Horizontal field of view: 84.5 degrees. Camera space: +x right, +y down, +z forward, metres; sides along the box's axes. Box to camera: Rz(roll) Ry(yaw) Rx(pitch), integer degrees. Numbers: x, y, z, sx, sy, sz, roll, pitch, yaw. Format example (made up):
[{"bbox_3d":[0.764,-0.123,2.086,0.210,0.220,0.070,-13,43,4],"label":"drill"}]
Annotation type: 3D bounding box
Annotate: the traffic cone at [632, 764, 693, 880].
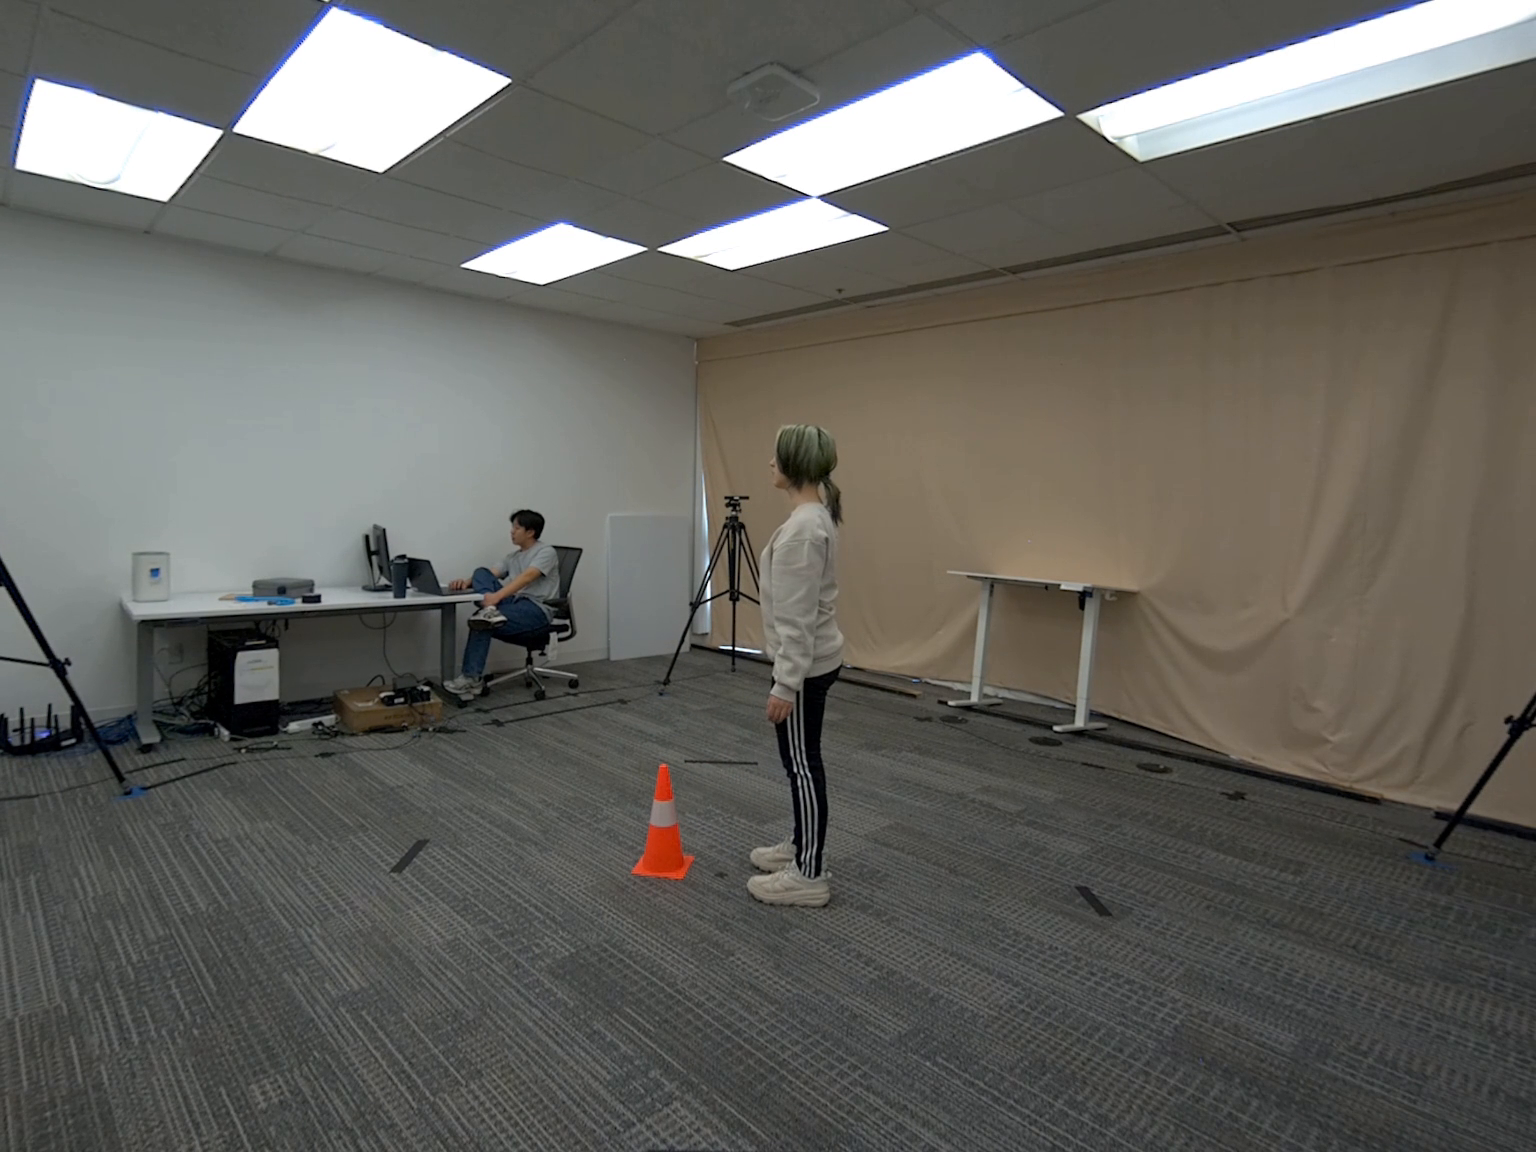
[{"bbox_3d":[-0.400,0.906,3.169,0.205,0.383,0.203,1,2,12],"label":"traffic cone"}]
